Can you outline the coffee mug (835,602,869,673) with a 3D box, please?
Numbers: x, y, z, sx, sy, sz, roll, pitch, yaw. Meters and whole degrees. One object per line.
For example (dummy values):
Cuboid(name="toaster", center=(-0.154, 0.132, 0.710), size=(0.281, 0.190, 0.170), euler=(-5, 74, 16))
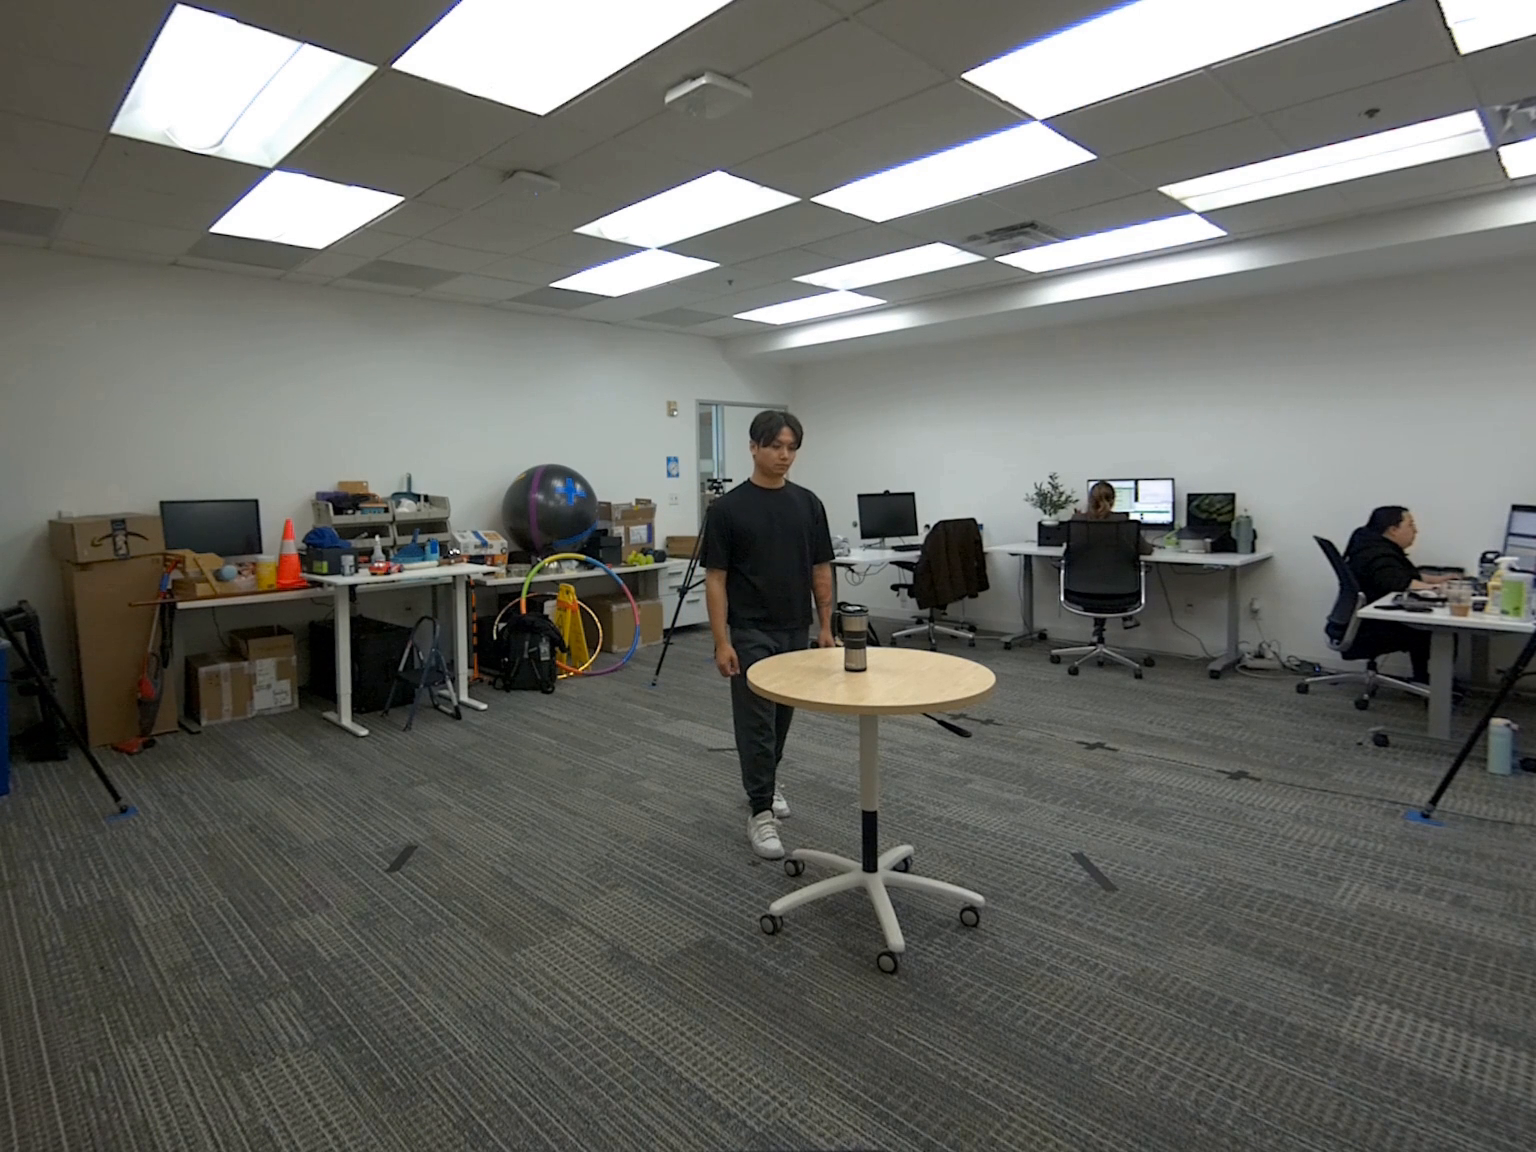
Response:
Cuboid(name="coffee mug", center=(0.268, 0.201, 2.735), size=(0.086, 0.201, 0.126), euler=(-8, 10, -34))
